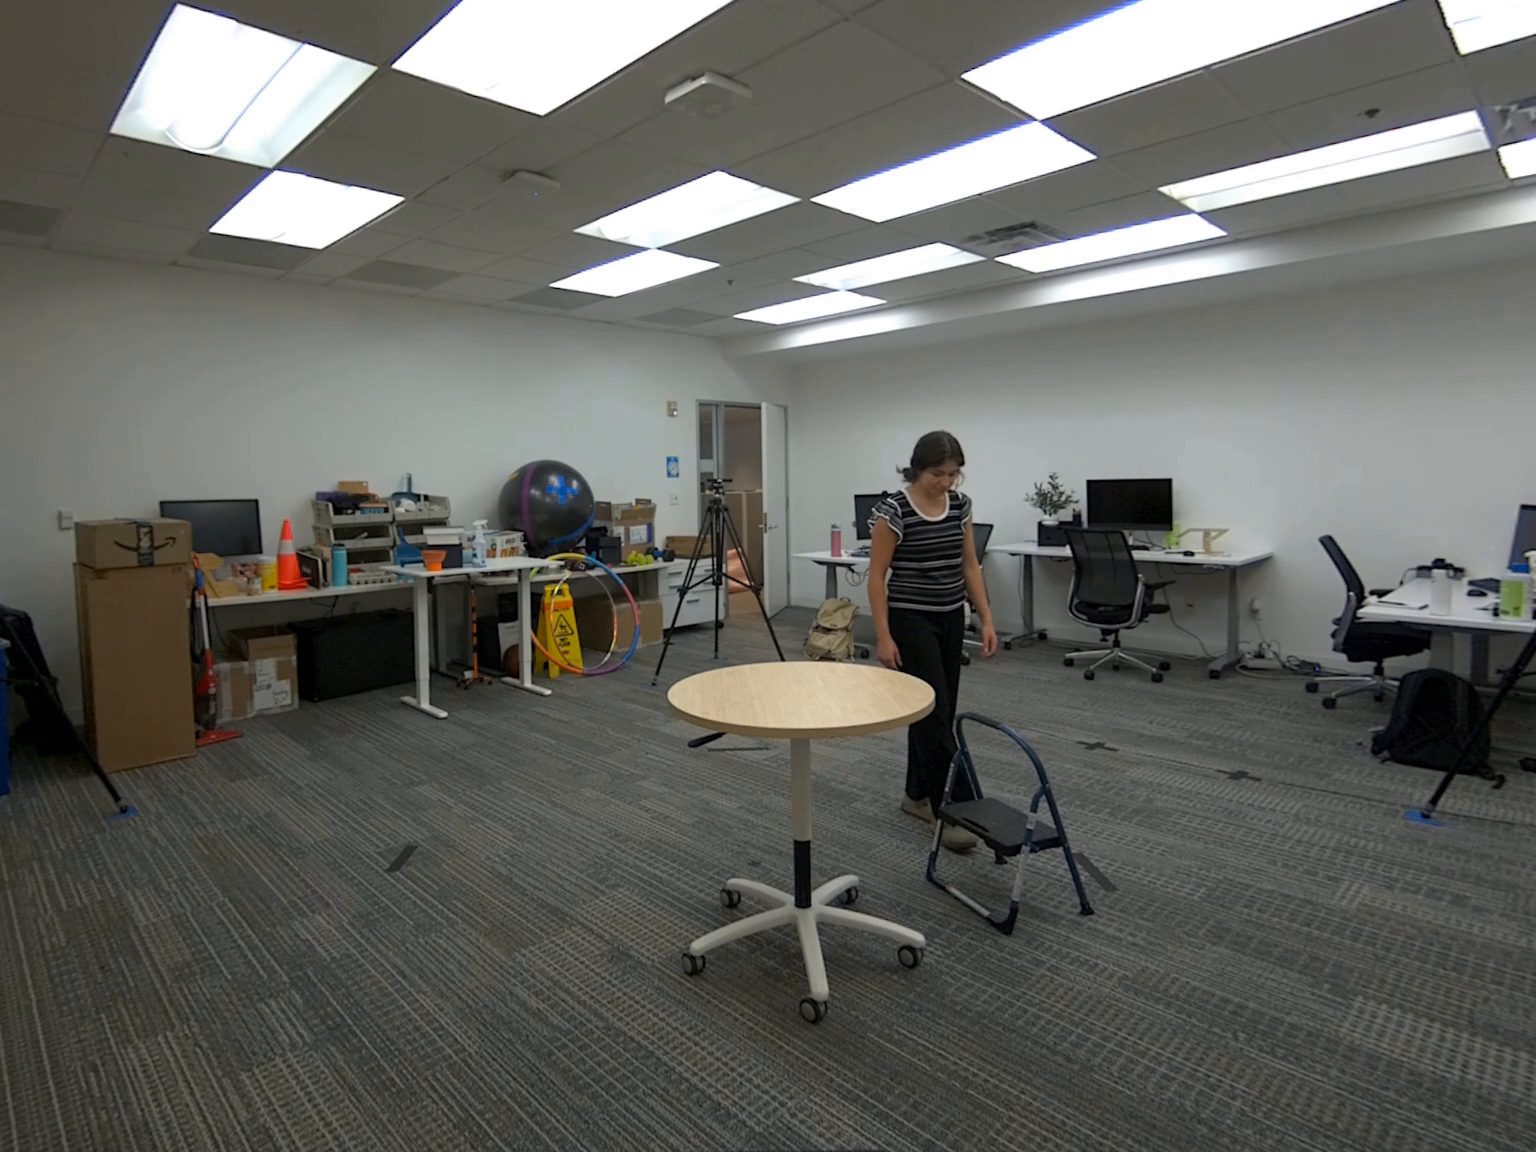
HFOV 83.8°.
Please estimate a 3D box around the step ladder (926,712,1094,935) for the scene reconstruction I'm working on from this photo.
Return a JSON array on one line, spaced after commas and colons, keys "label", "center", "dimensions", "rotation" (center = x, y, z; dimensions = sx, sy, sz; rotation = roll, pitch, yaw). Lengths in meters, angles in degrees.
[{"label": "step ladder", "center": [0.788, 0.766, 2.817], "dimensions": [0.342, 0.604, 0.441], "rotation": [-3, 5, -25]}]
